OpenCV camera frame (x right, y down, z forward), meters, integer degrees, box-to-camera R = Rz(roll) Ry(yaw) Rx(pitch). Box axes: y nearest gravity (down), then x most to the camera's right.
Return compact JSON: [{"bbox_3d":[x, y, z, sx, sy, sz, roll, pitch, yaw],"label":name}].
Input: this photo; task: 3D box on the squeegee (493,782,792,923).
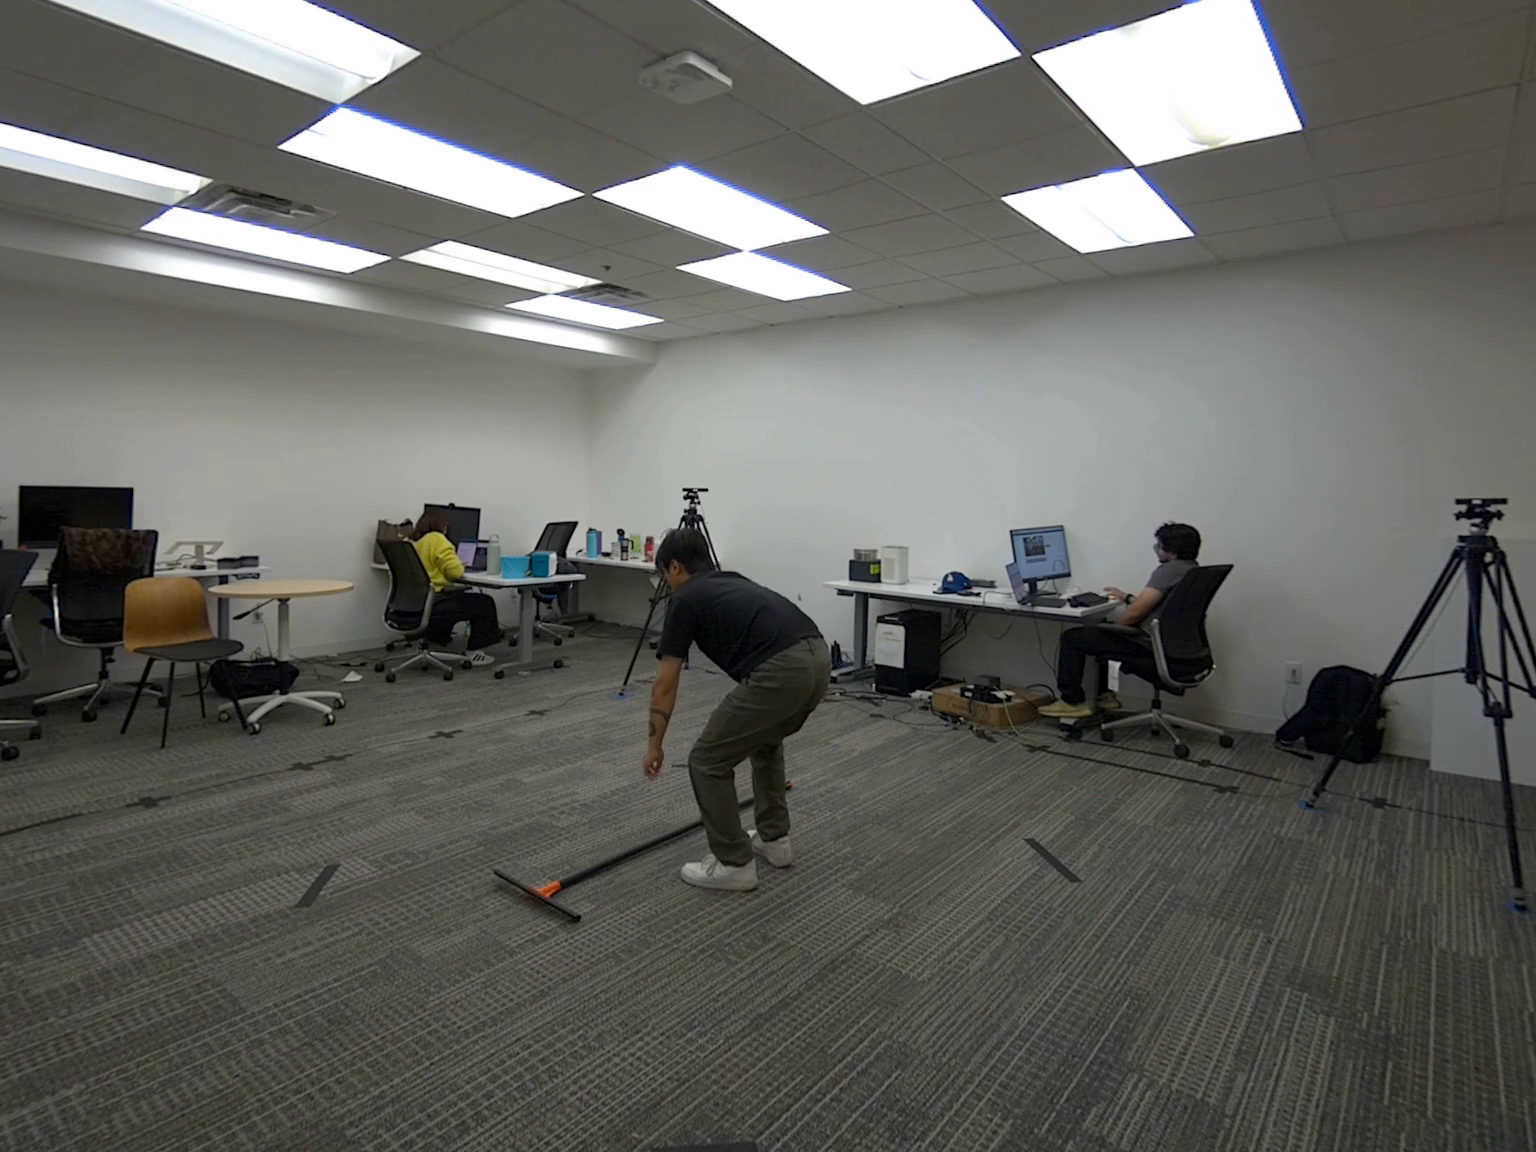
[{"bbox_3d":[-0.347,1.000,3.405,0.452,0.053,1.493,7,8,38],"label":"squeegee"}]
